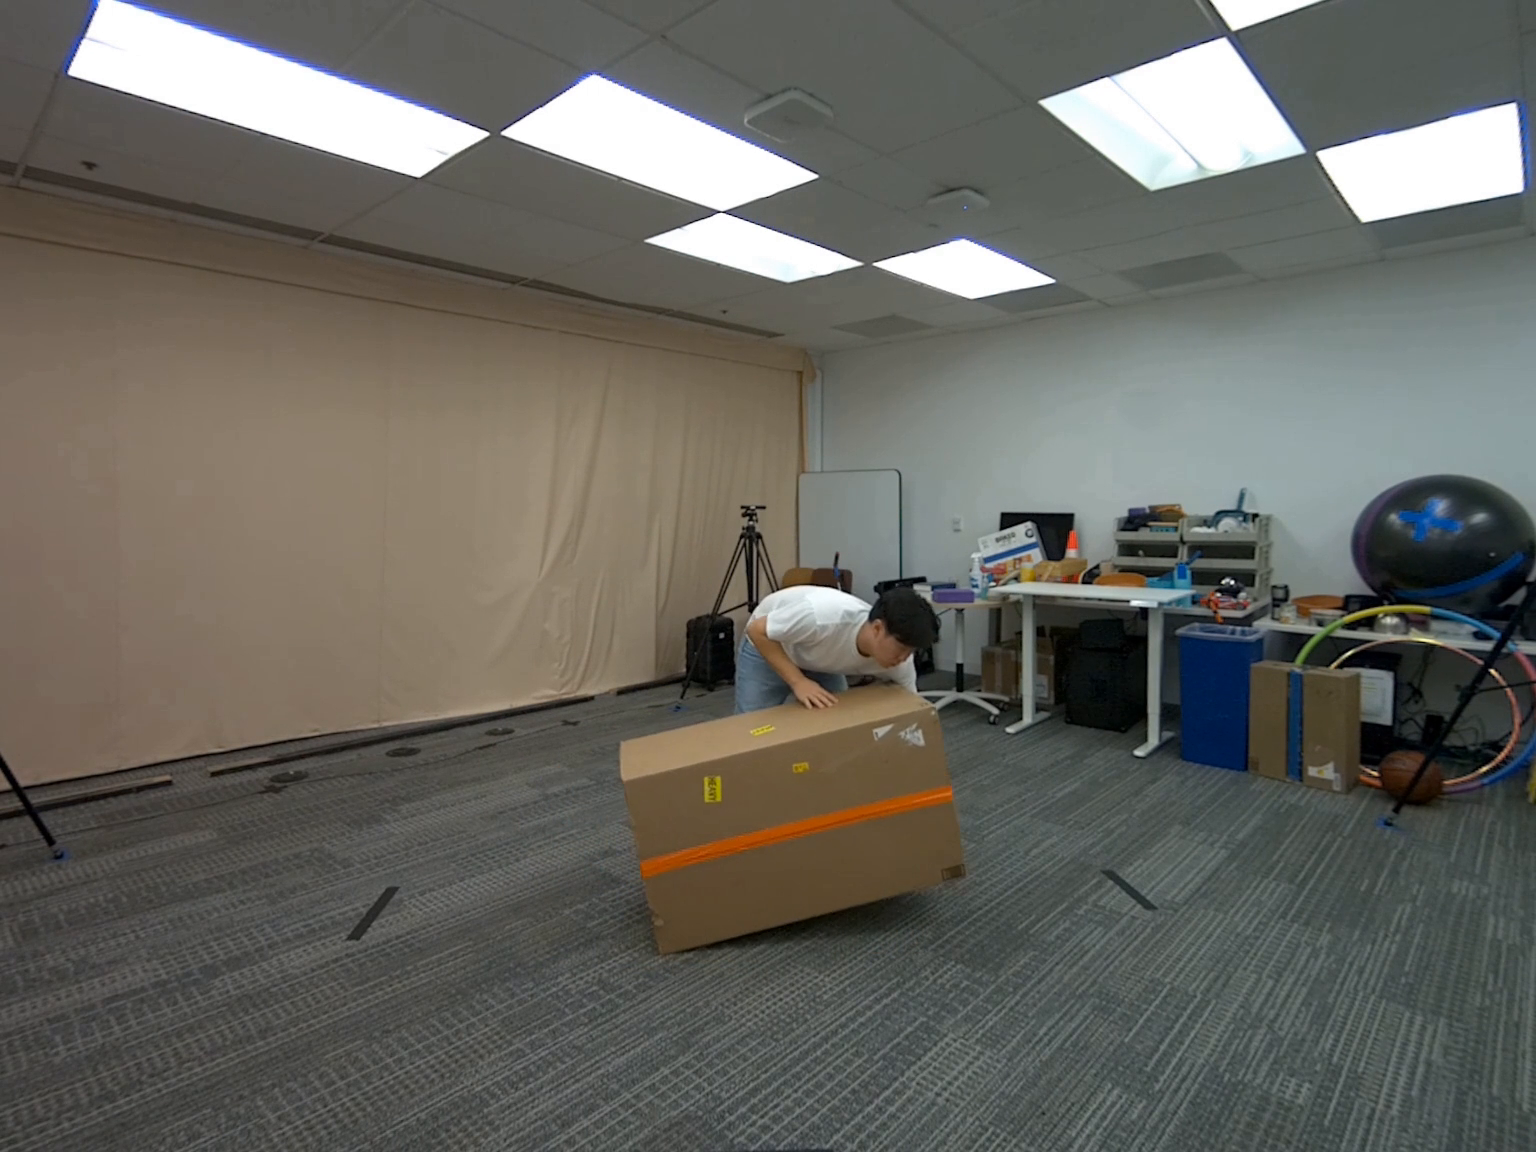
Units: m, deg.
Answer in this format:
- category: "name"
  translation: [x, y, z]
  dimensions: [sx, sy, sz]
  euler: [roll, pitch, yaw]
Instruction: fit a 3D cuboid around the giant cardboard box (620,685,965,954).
- category: "giant cardboard box"
  translation: [0.058, 0.783, 2.835]
  dimensions: [1.018, 0.576, 0.430]
  euler: [-12, 4, -8]
